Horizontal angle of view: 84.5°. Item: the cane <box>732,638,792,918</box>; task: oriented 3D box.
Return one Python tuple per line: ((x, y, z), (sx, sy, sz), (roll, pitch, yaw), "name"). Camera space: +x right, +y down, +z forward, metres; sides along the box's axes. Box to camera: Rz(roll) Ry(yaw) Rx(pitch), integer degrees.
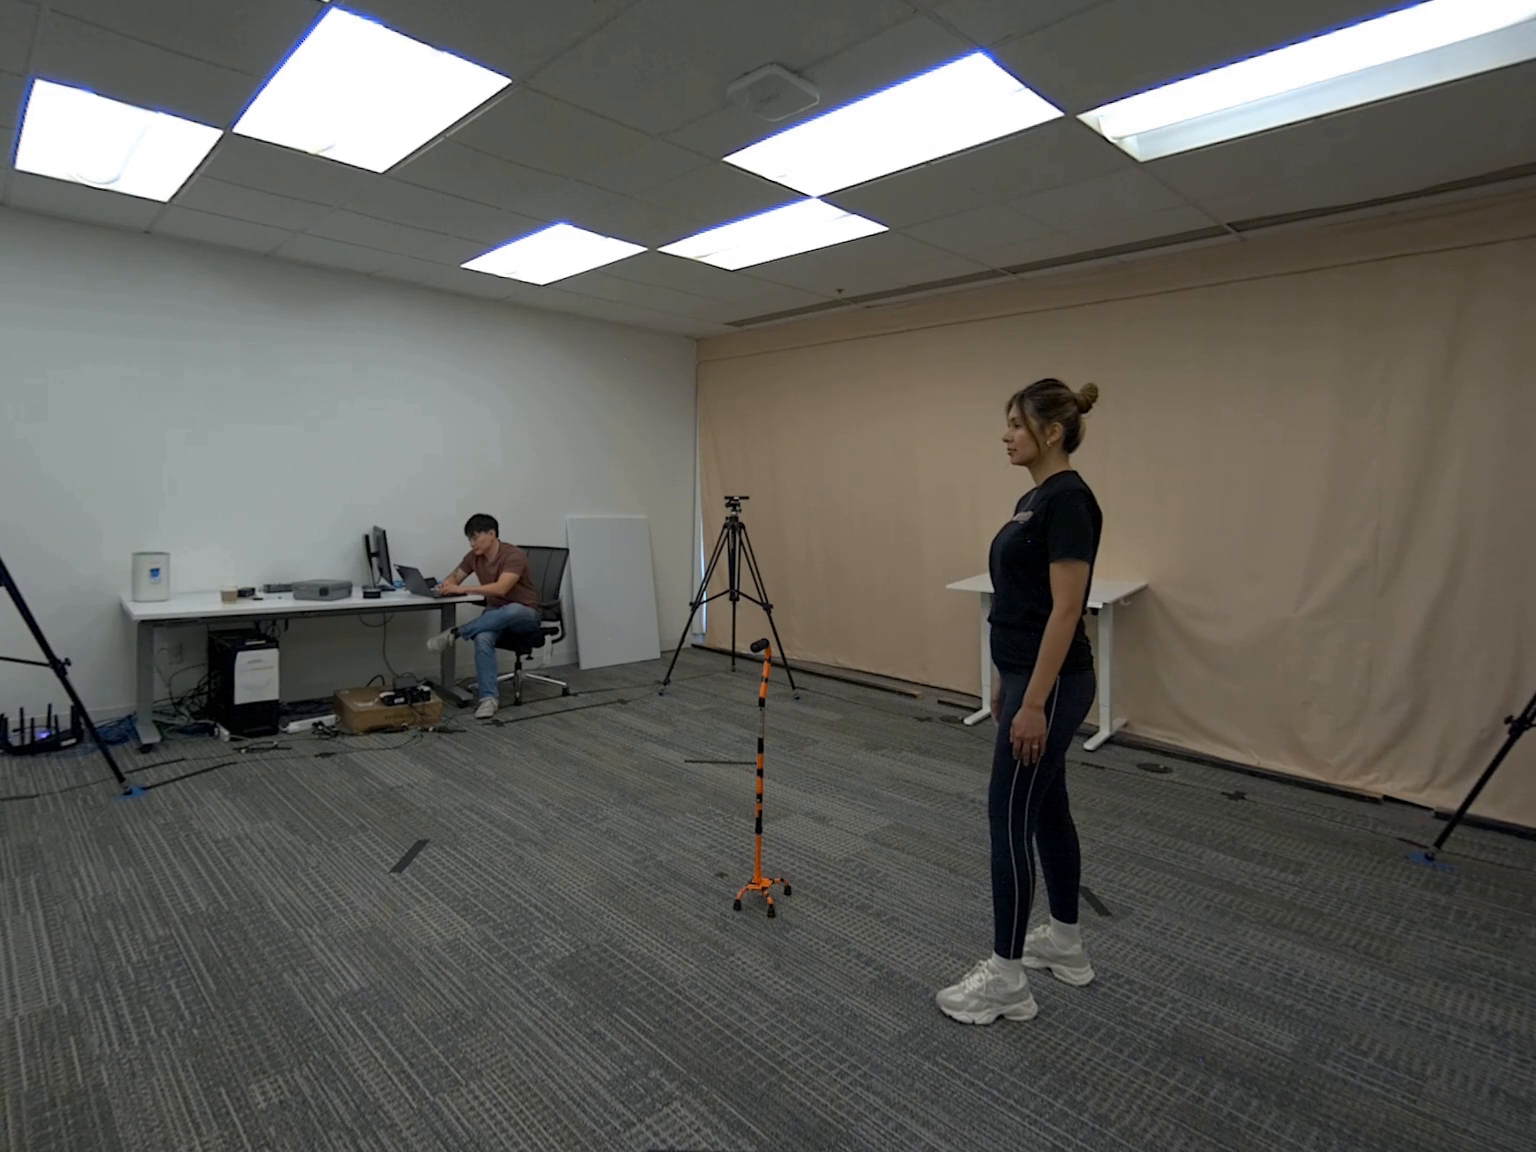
((-0.015, 0.674, 2.887), (0.154, 0.906, 0.204), (2, 3, 16), "cane")
